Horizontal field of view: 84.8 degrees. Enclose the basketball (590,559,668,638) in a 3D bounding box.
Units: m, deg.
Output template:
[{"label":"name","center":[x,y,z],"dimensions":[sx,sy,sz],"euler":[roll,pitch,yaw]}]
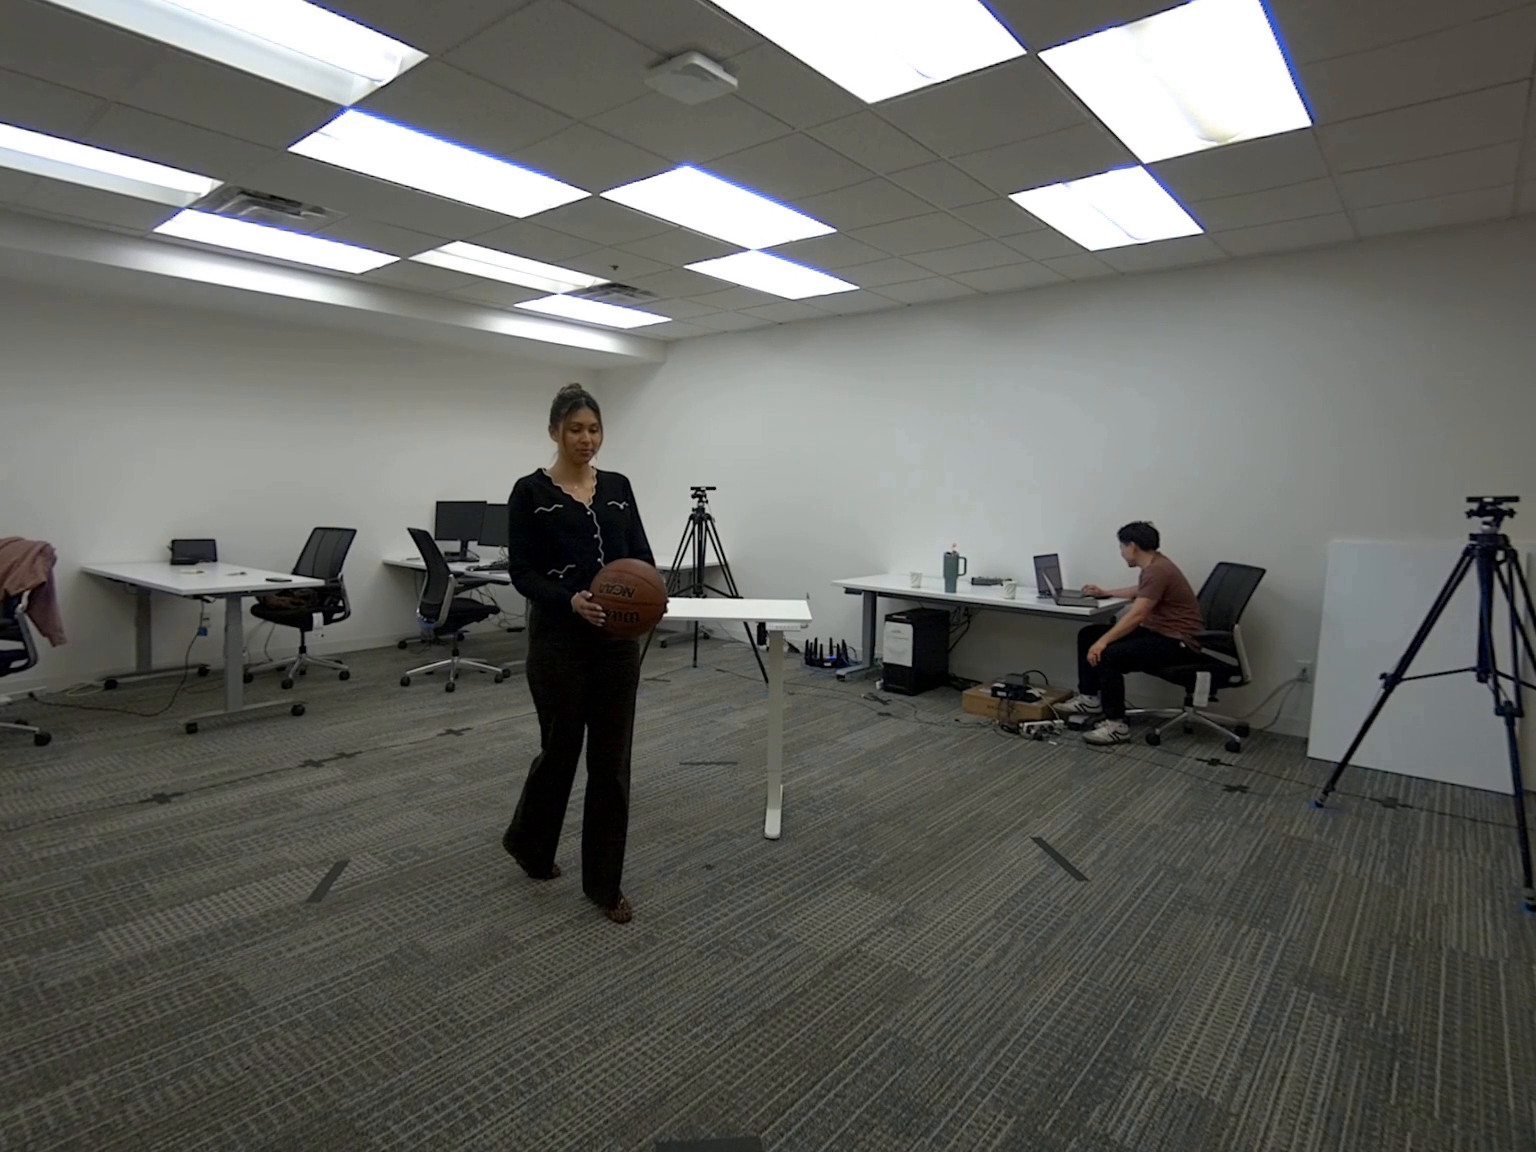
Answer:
[{"label":"basketball","center":[-0.426,0.064,2.555],"dimensions":[0.235,0.235,0.237],"euler":[1,4,-2]}]
